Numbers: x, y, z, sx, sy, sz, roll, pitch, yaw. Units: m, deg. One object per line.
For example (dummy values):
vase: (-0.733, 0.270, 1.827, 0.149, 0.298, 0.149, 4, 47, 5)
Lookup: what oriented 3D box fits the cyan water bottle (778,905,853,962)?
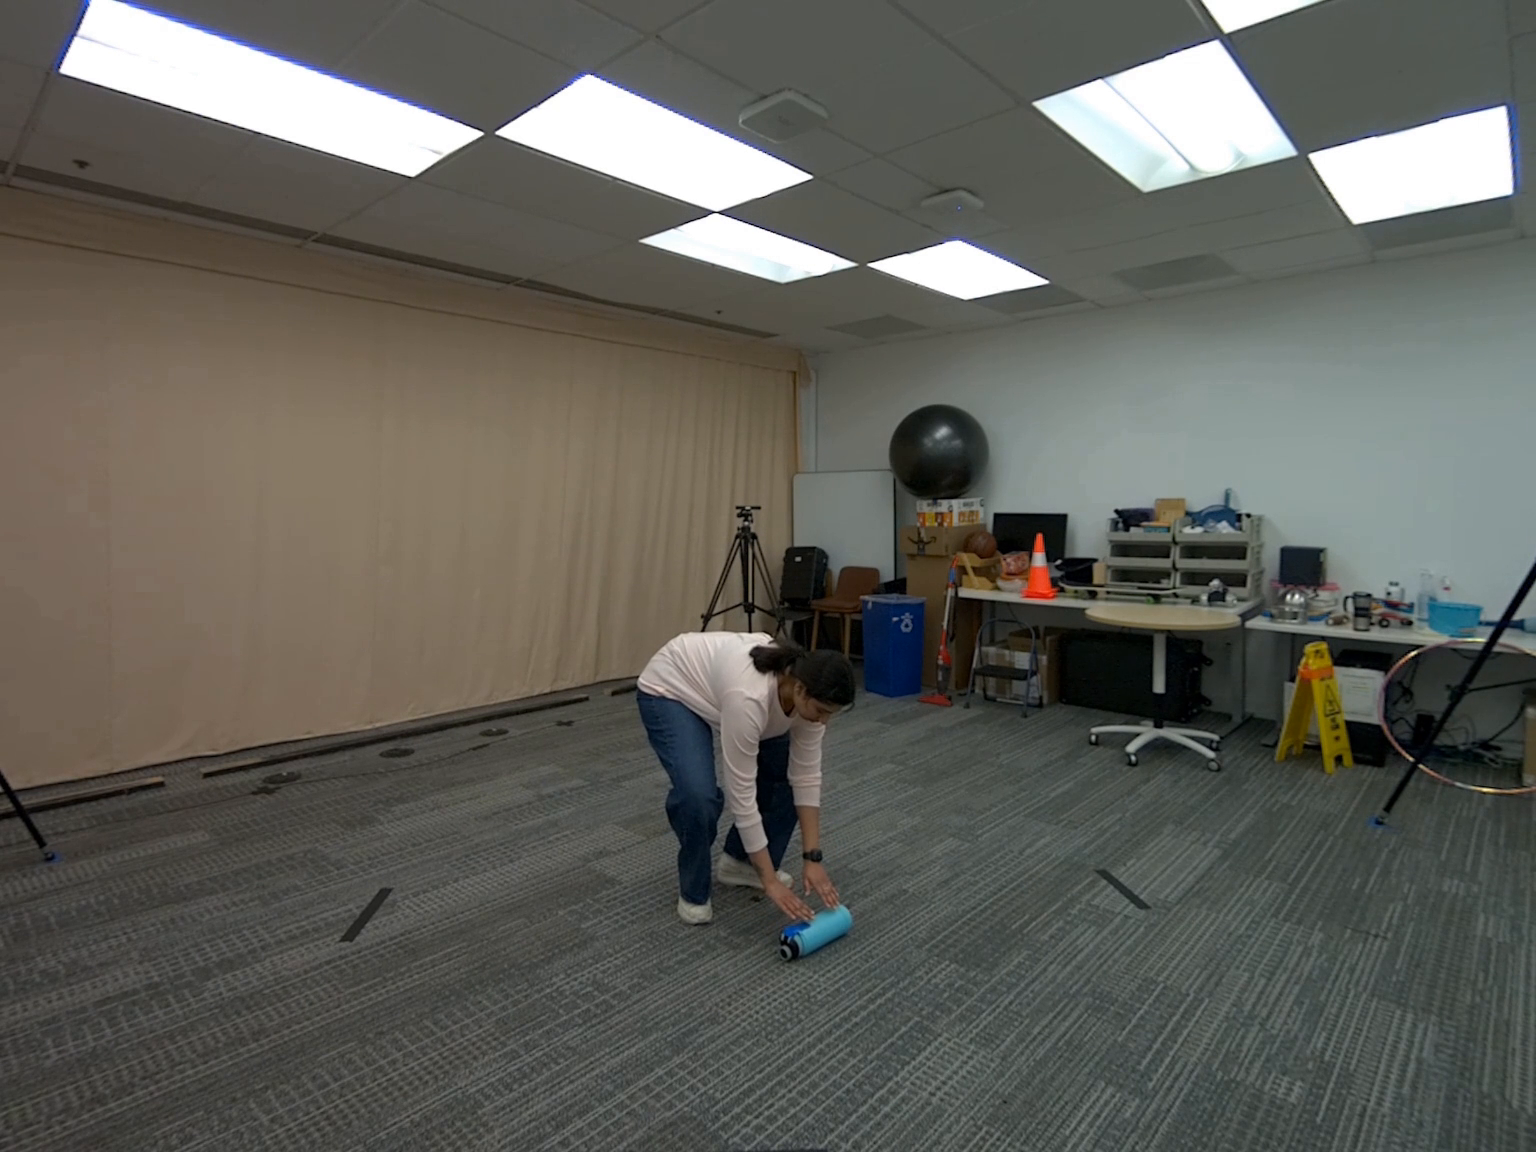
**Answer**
cyan water bottle: (0.148, 1.120, 2.662, 0.275, 0.092, 0.095, -3, 5, -43)
